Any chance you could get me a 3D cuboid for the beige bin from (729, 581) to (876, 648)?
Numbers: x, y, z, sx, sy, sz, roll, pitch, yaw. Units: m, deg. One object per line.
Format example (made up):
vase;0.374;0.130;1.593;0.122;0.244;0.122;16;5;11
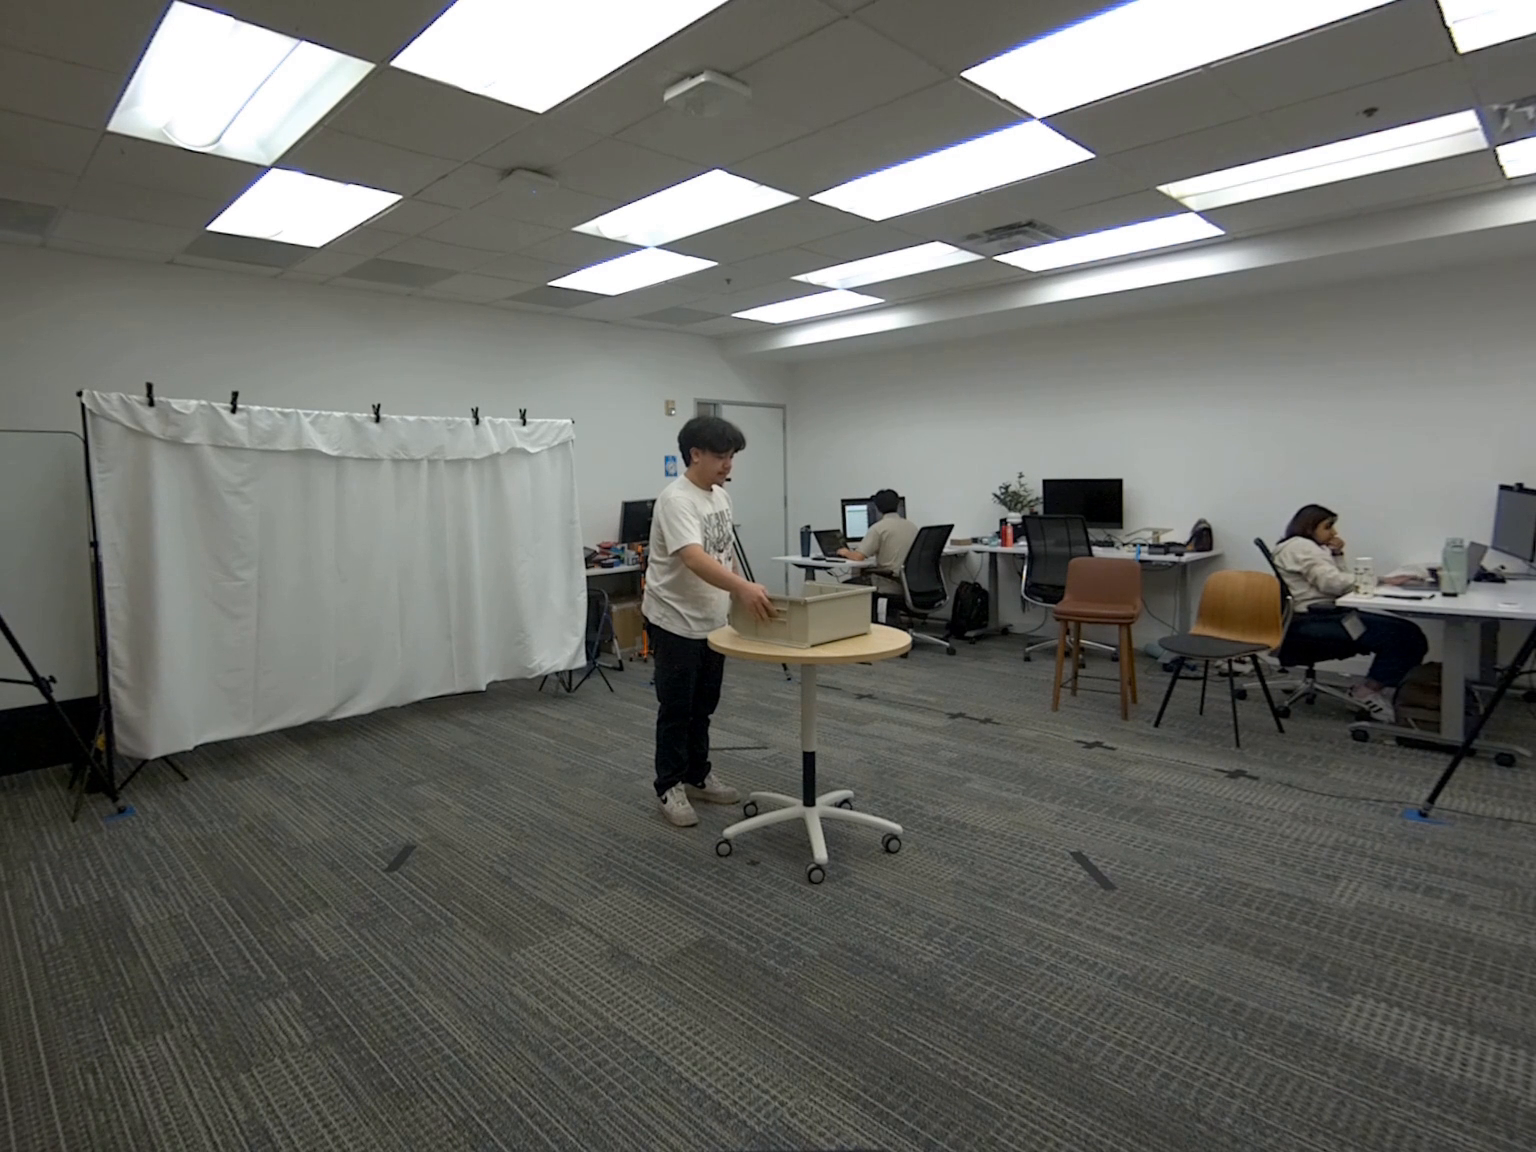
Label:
beige bin;0.127;0.140;3.238;0.389;0.188;0.411;5;8;42
